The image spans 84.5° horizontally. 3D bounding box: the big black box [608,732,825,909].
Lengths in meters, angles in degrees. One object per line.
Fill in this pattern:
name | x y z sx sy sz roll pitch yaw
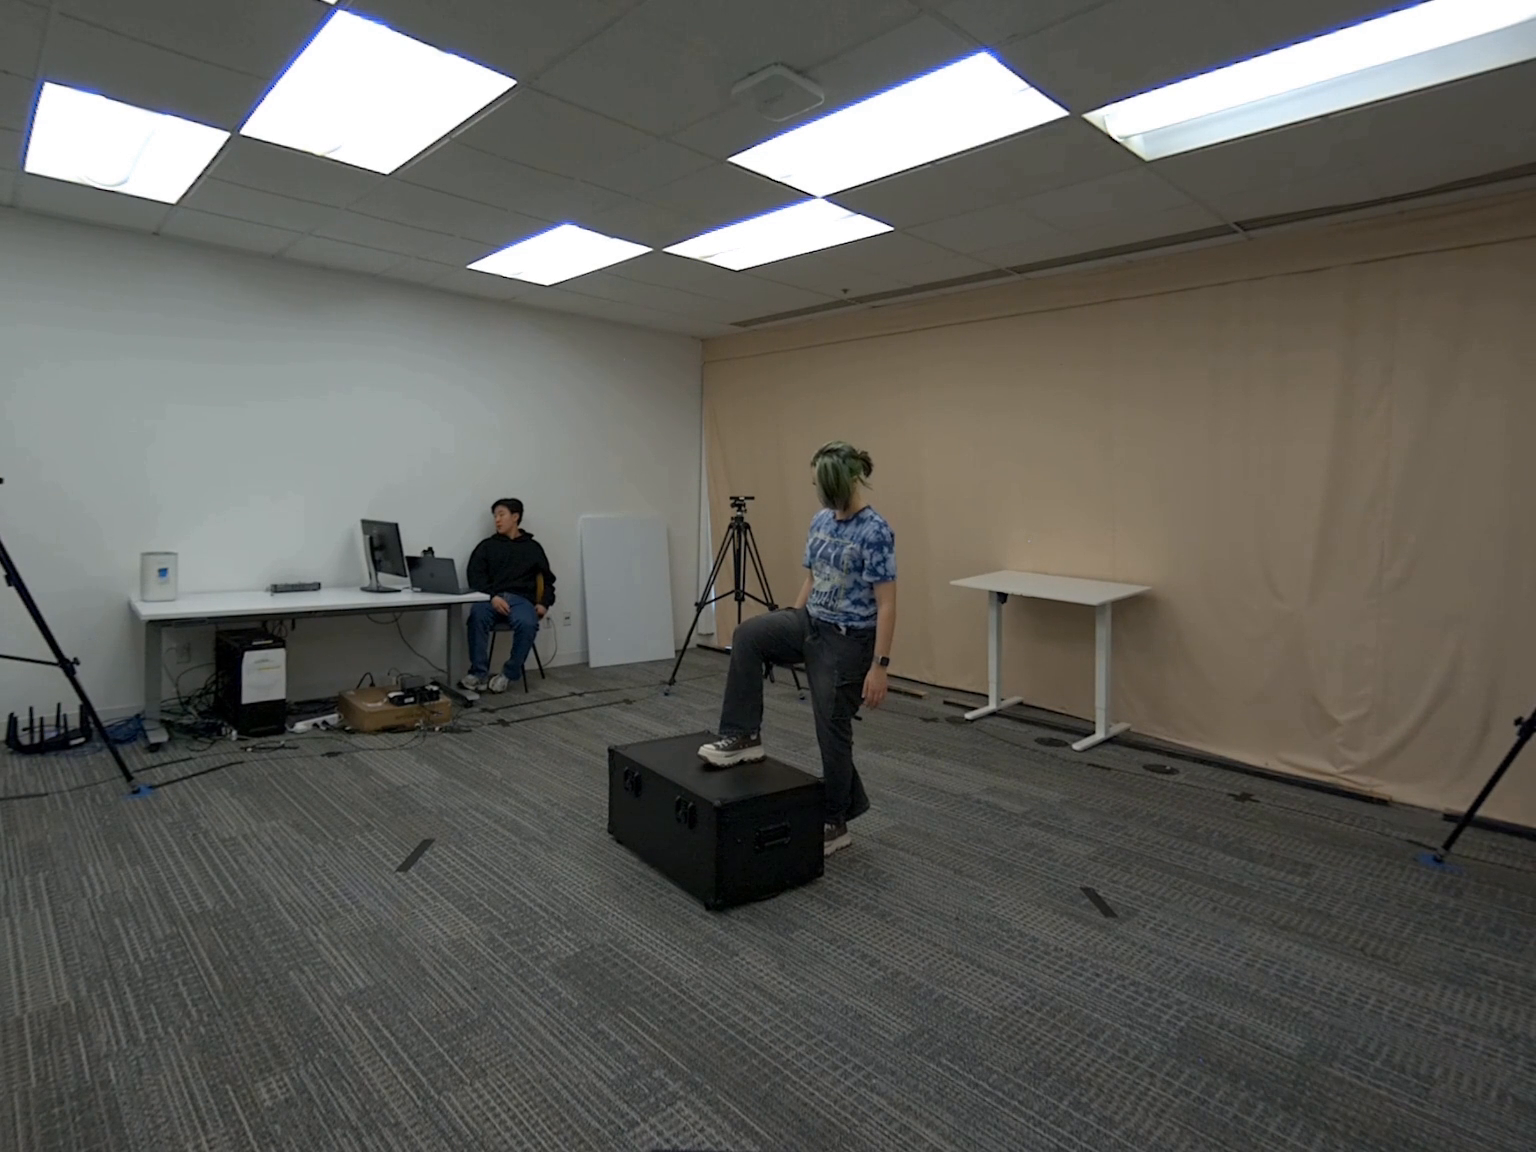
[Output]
big black box | -0.242 0.897 3.254 0.510 0.395 0.883 -2 6 -37
